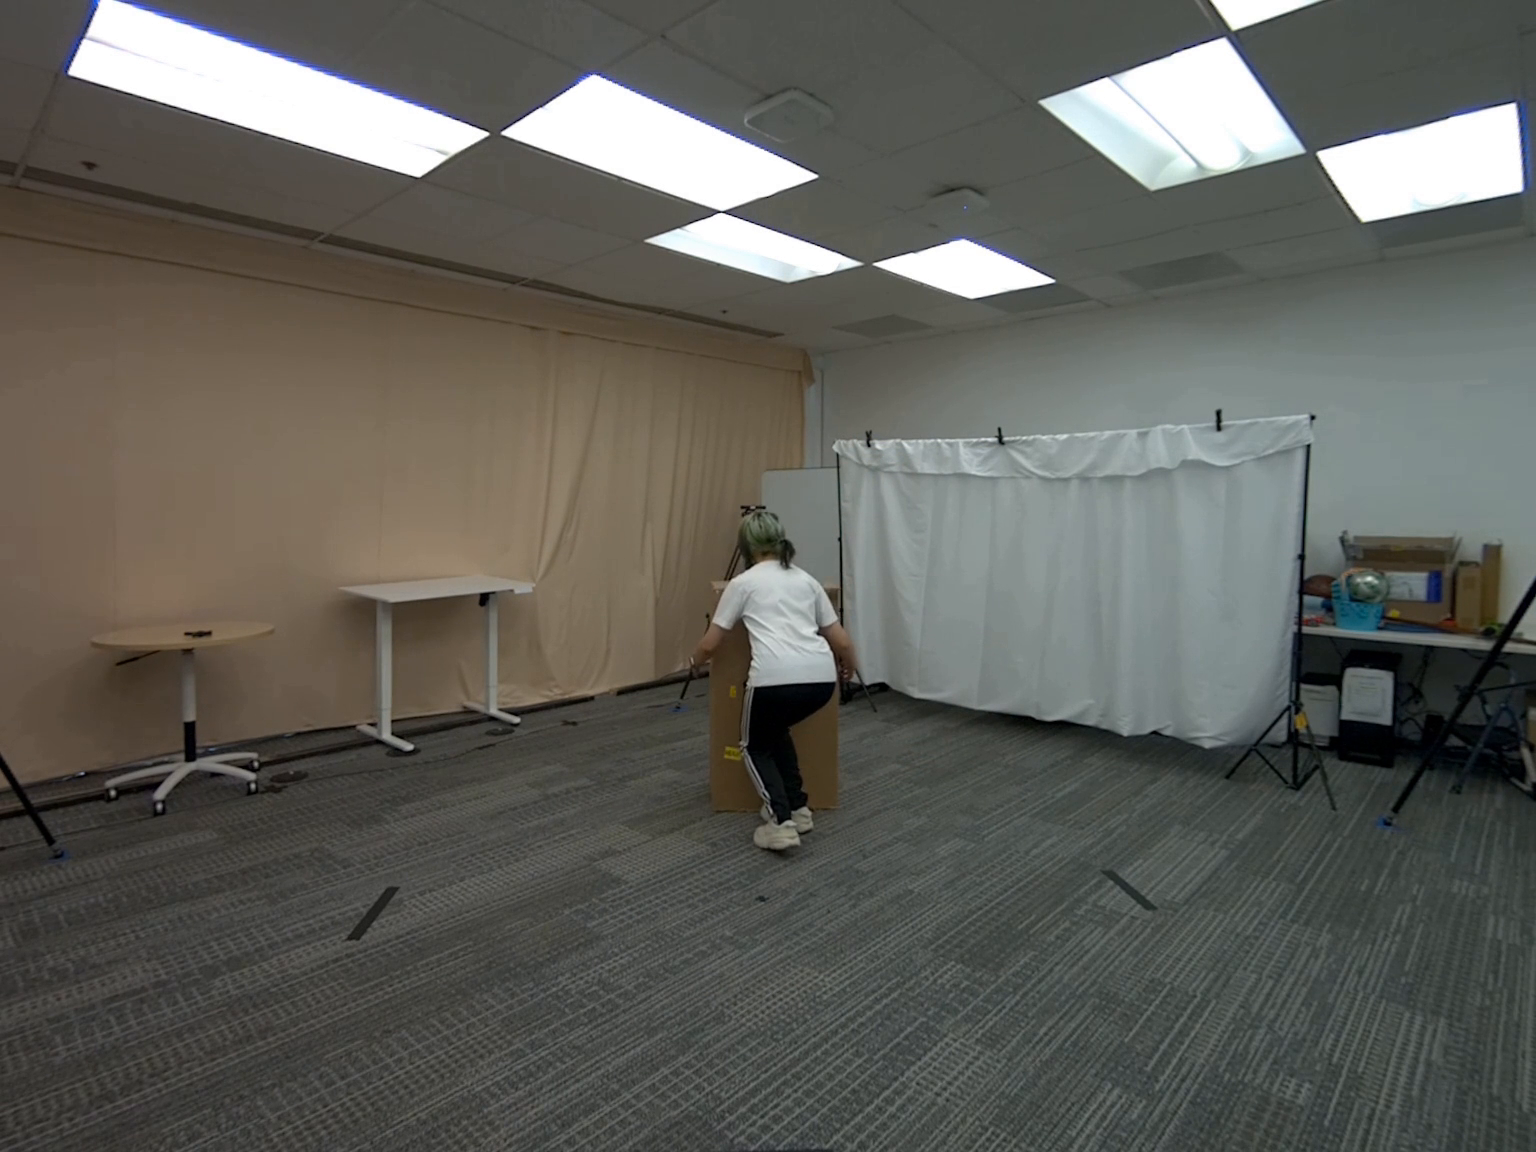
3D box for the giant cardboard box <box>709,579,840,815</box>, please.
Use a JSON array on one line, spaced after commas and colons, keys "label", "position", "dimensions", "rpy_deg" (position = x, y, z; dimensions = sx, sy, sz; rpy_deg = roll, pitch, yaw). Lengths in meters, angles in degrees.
[{"label": "giant cardboard box", "position": [0.018, 0.554, 4.047], "dimensions": [0.582, 1.026, 0.449], "rpy_deg": [0, 2, -4]}]
